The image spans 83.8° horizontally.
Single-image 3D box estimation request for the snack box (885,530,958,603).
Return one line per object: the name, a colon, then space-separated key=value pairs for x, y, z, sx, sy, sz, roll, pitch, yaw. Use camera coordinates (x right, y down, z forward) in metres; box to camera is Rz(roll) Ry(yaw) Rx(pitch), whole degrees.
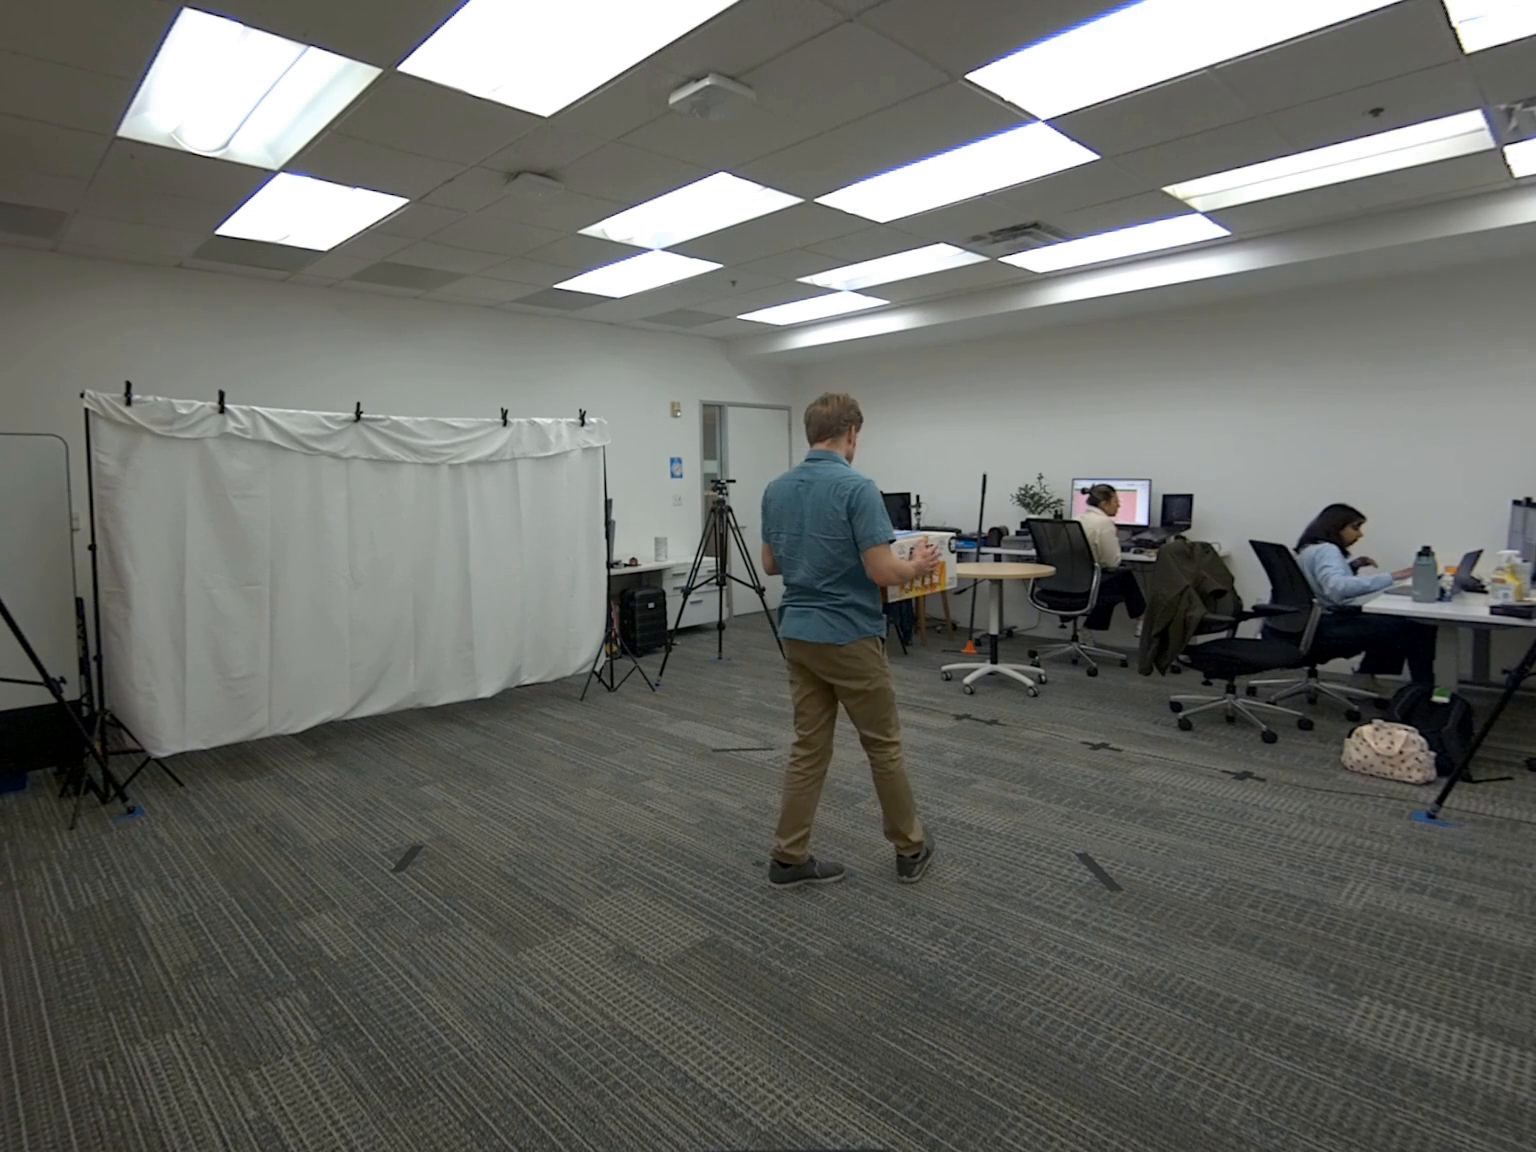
snack box: x=0.447 y=-0.048 z=3.123 sx=0.351 sy=0.204 sz=0.395 roll=4 pitch=10 yaw=43
